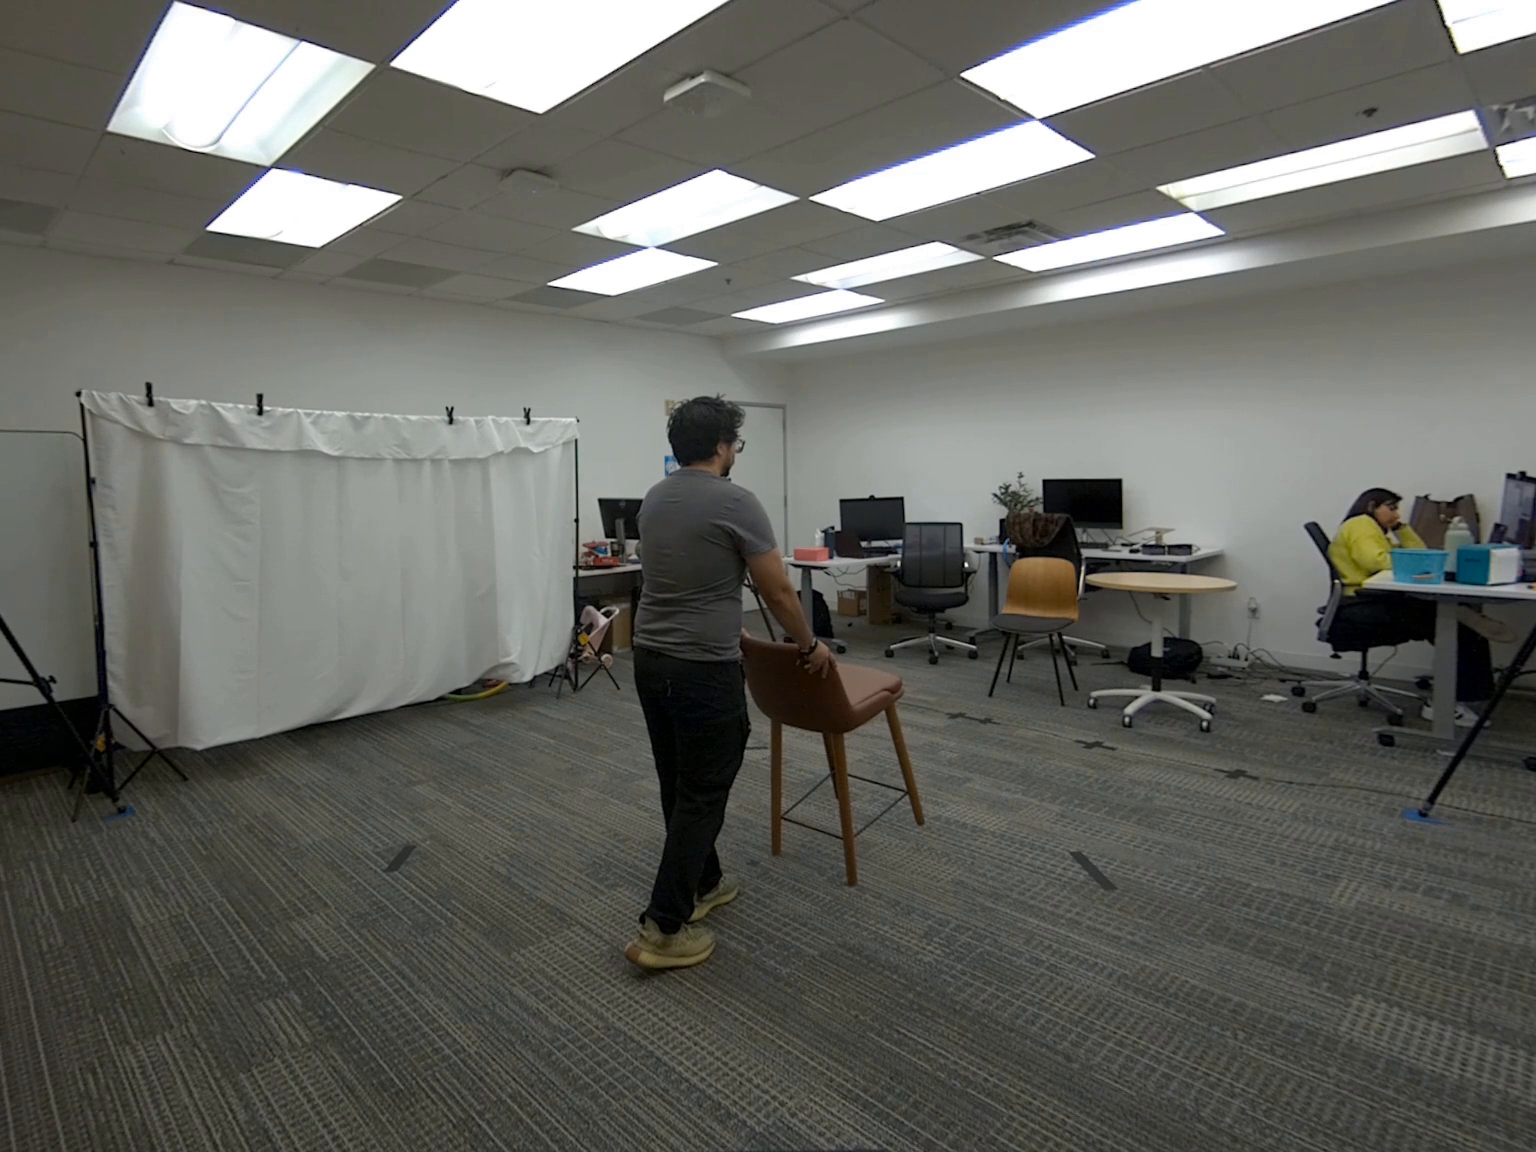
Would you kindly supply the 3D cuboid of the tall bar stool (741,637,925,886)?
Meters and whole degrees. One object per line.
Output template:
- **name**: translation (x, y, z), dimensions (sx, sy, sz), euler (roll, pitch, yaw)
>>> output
- **tall bar stool**: translation (0.226, 0.564, 3.103), dimensions (0.471, 0.876, 0.460), euler (4, 20, 44)
